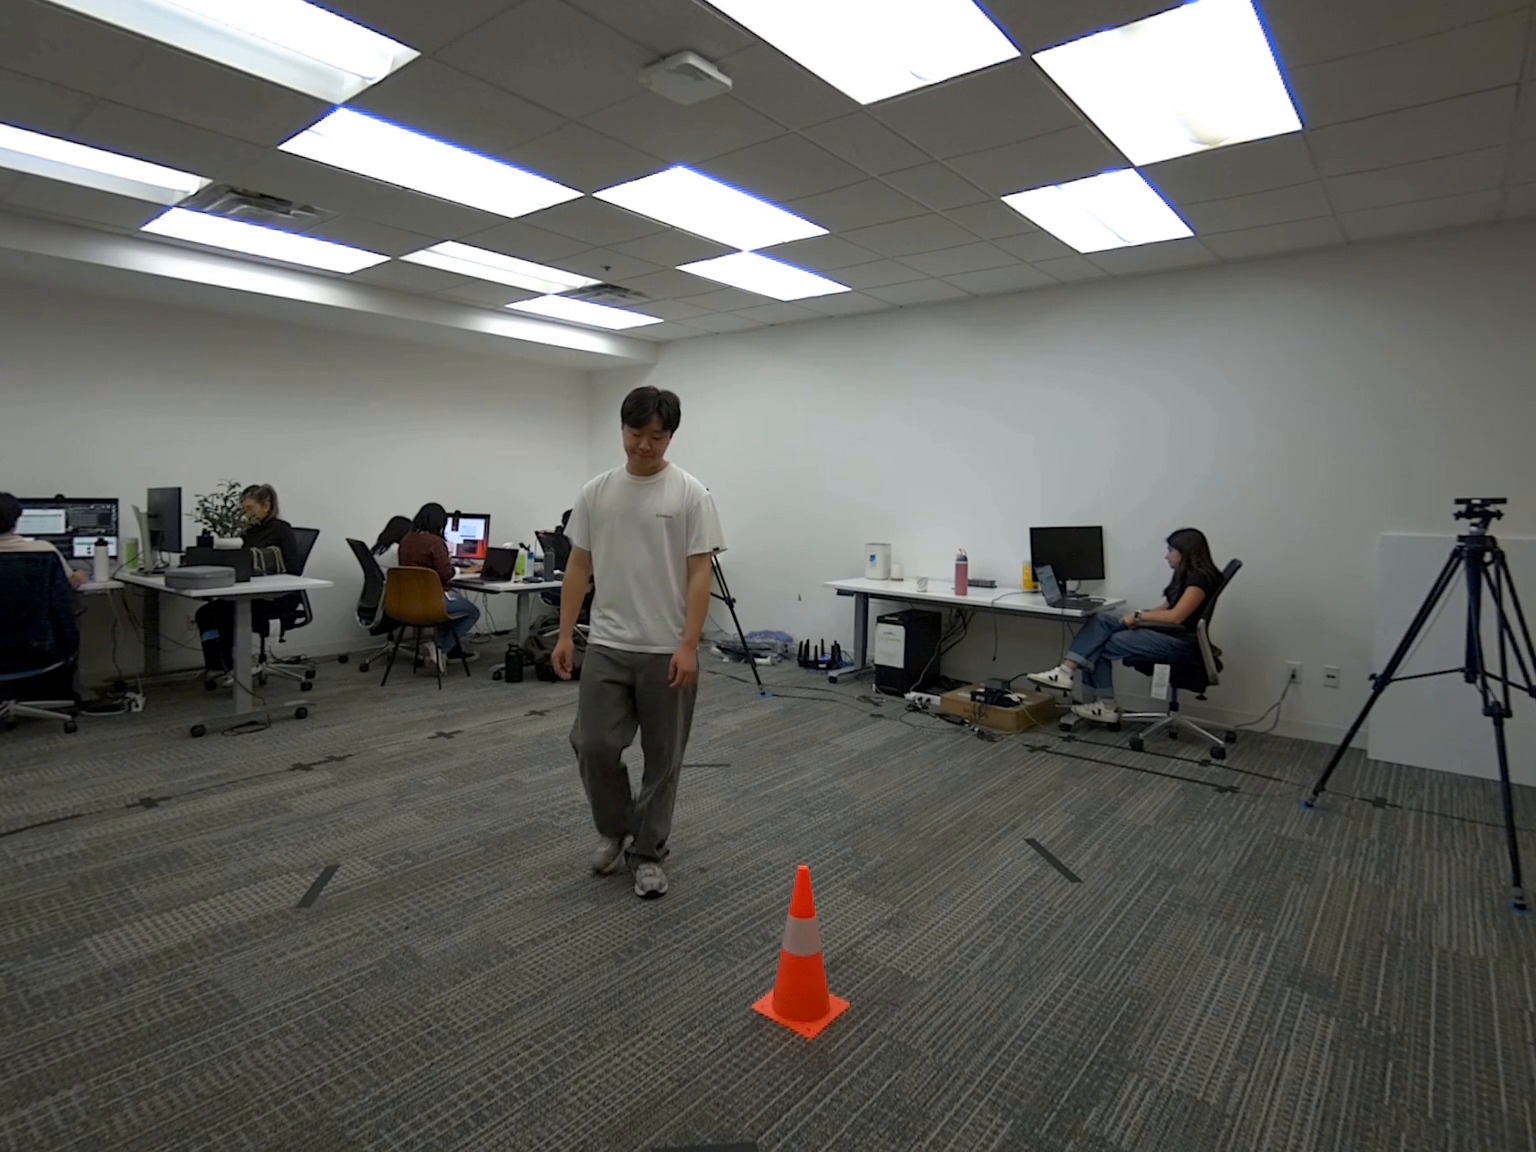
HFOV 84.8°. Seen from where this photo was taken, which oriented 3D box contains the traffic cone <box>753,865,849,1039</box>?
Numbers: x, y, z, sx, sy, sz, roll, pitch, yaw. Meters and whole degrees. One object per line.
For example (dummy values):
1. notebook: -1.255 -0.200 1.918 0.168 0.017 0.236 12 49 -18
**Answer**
1. traffic cone: 0.094 0.970 2.279 0.212 0.382 0.197 5 6 43
